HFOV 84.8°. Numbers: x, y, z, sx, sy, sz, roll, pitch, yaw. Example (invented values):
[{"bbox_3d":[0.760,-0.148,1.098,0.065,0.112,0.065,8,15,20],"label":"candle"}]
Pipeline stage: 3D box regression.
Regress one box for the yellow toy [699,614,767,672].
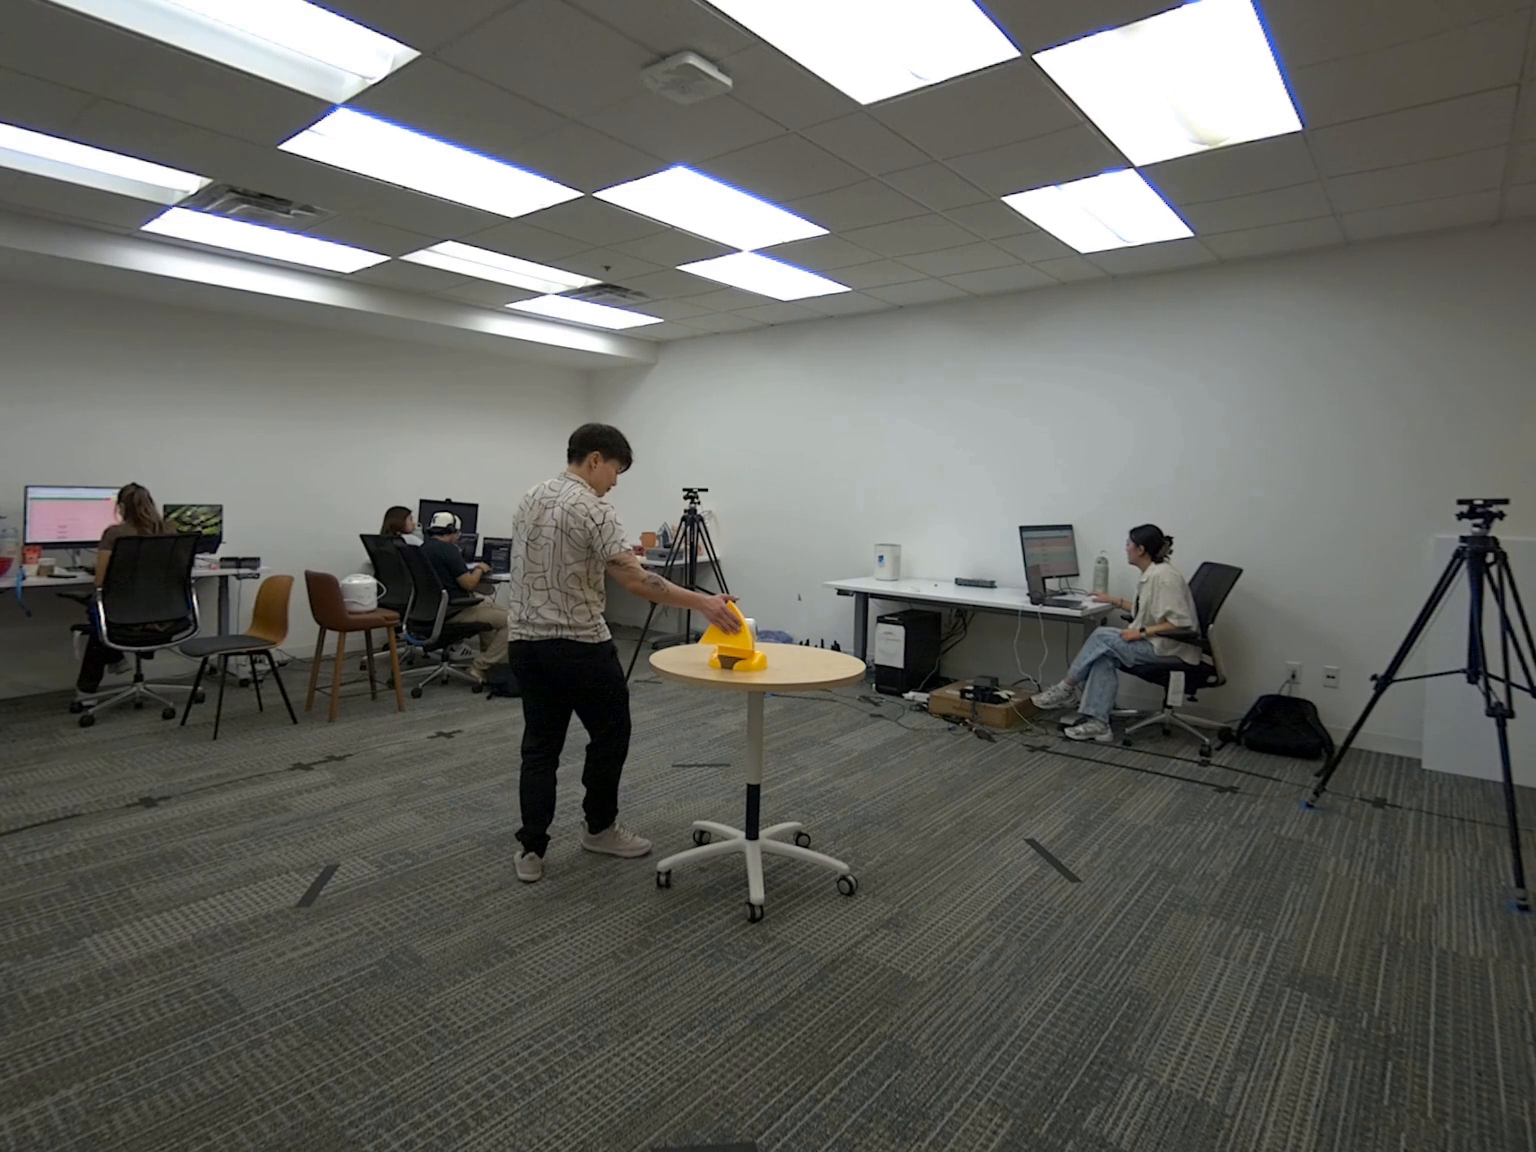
[{"bbox_3d":[-0.111,0.193,2.914,0.211,0.230,0.188,3,4,29],"label":"yellow toy"}]
